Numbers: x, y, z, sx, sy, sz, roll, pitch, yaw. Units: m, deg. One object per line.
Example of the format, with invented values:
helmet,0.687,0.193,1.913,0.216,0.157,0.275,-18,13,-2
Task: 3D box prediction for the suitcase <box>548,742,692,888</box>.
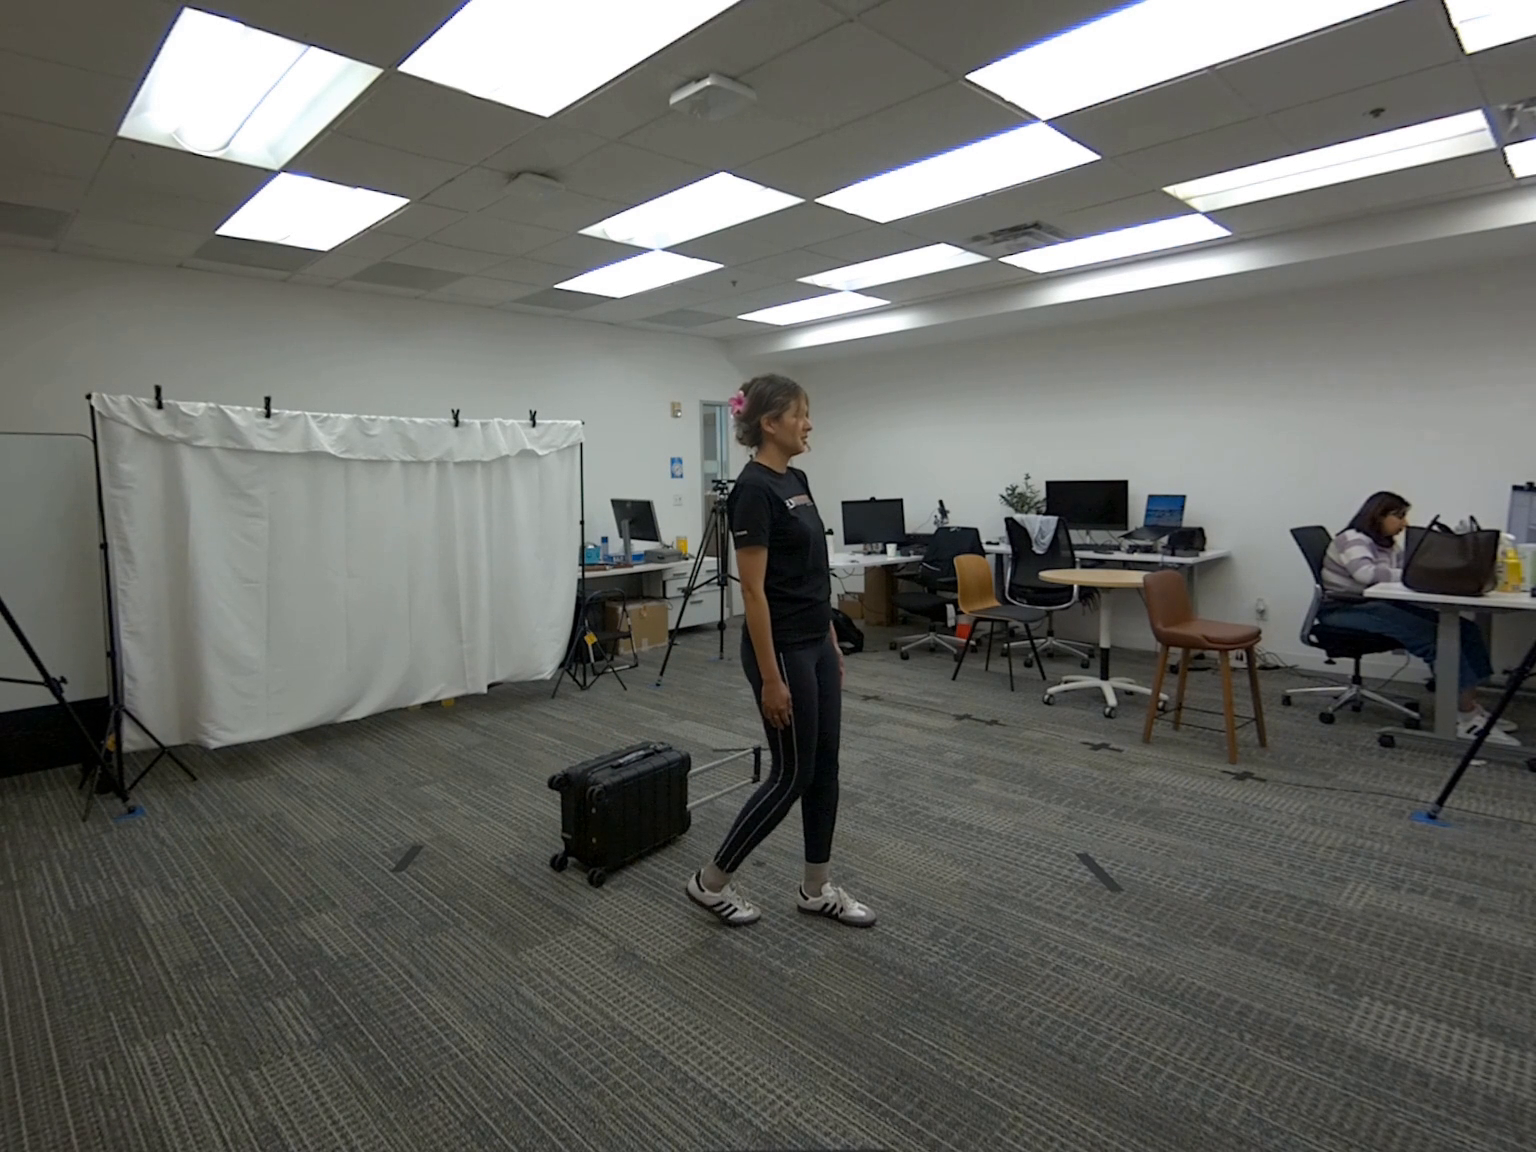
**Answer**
suitcase,-0.415,0.837,3.376,0.264,0.382,0.955,2,7,35
